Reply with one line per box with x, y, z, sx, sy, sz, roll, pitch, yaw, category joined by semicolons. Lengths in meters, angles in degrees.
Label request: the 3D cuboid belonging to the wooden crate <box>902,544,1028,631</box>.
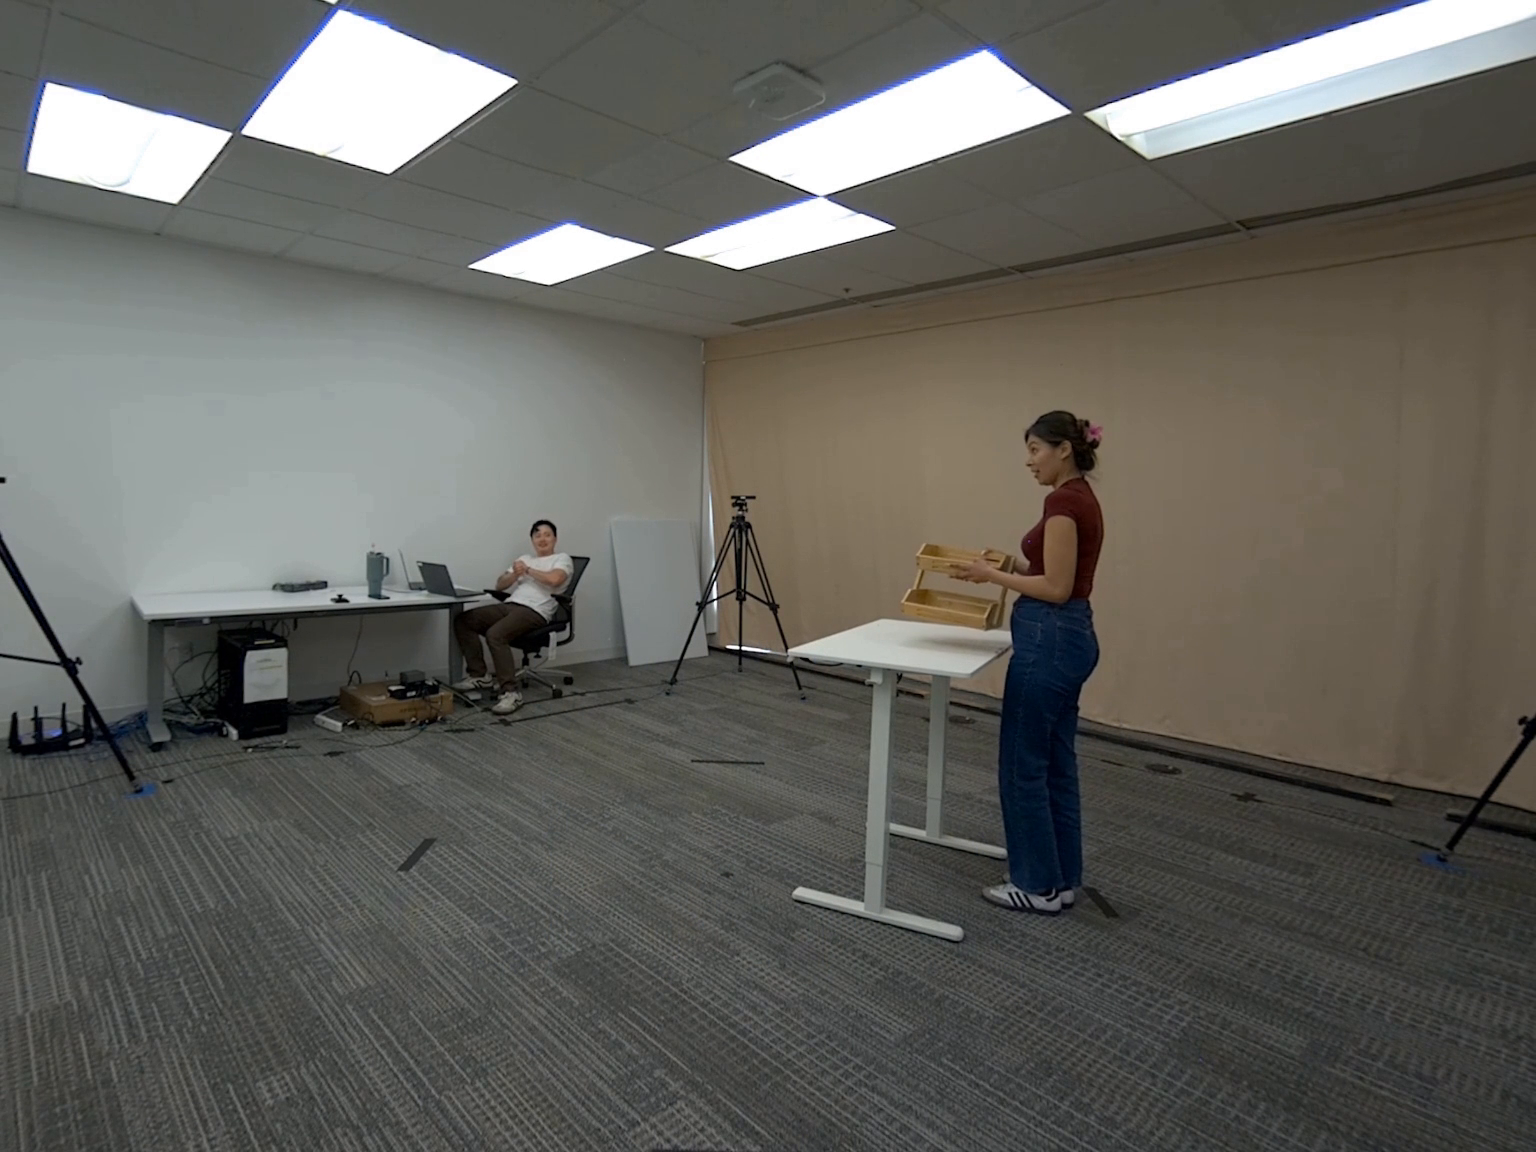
0.684;0.032;3.031;0.332;0.273;0.295;10;4;29;wooden crate
